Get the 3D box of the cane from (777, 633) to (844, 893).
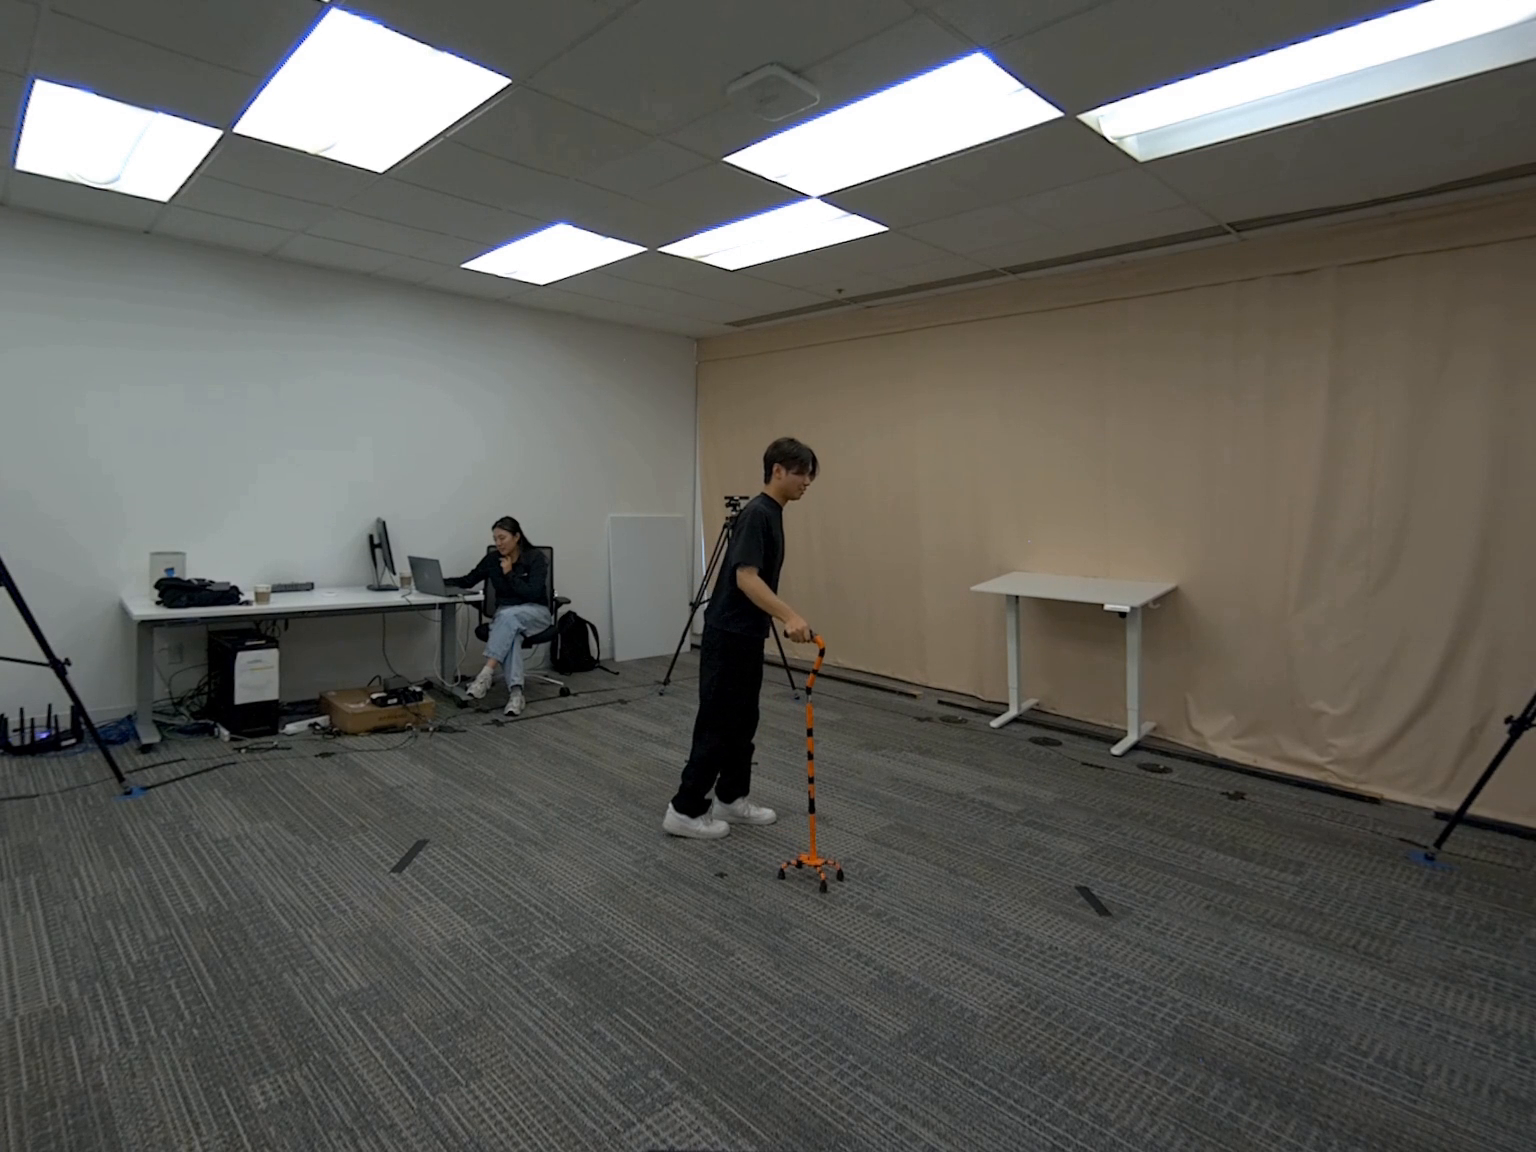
[{"bbox_3d":[0.142,0.657,3.074,0.211,0.907,0.148,0,2,34],"label":"cane"}]
